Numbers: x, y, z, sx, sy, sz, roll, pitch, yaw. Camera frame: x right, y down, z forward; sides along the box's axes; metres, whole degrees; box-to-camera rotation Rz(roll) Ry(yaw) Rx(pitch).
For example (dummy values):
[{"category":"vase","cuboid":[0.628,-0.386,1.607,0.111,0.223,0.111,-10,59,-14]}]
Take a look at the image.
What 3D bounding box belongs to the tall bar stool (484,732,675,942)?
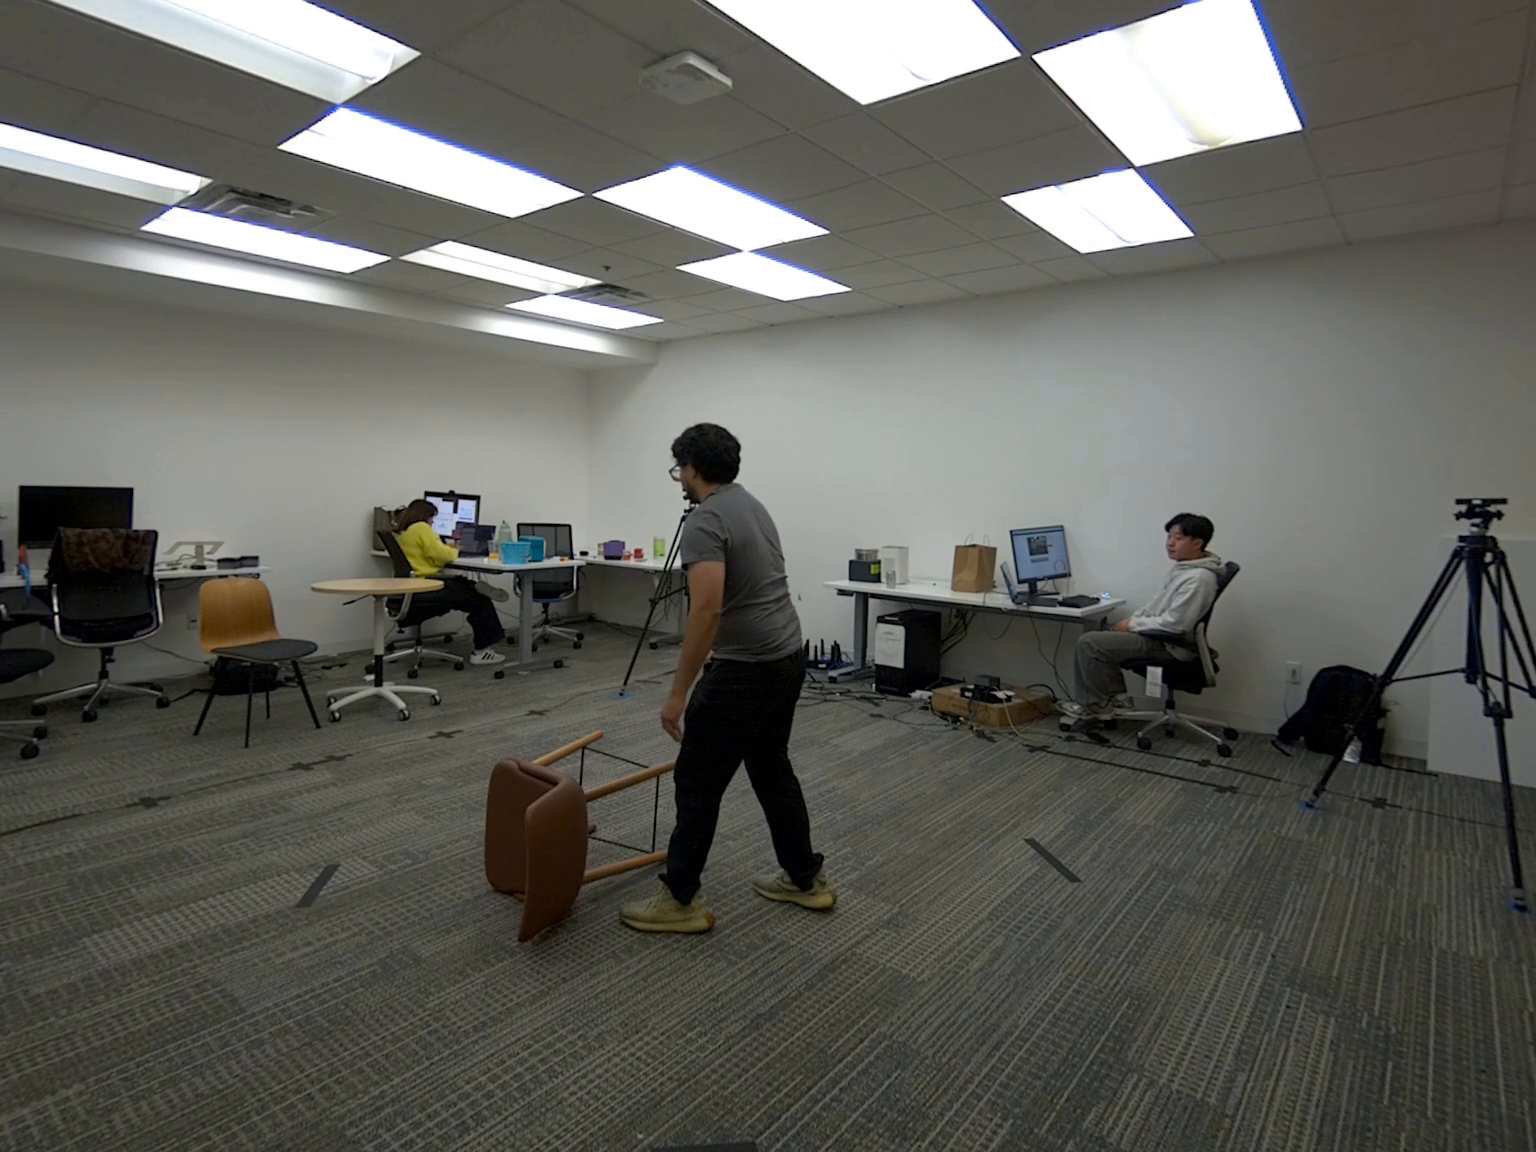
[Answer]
[{"category":"tall bar stool","cuboid":[-0.709,0.862,2.960,0.481,0.455,0.867,6,4,26]}]
